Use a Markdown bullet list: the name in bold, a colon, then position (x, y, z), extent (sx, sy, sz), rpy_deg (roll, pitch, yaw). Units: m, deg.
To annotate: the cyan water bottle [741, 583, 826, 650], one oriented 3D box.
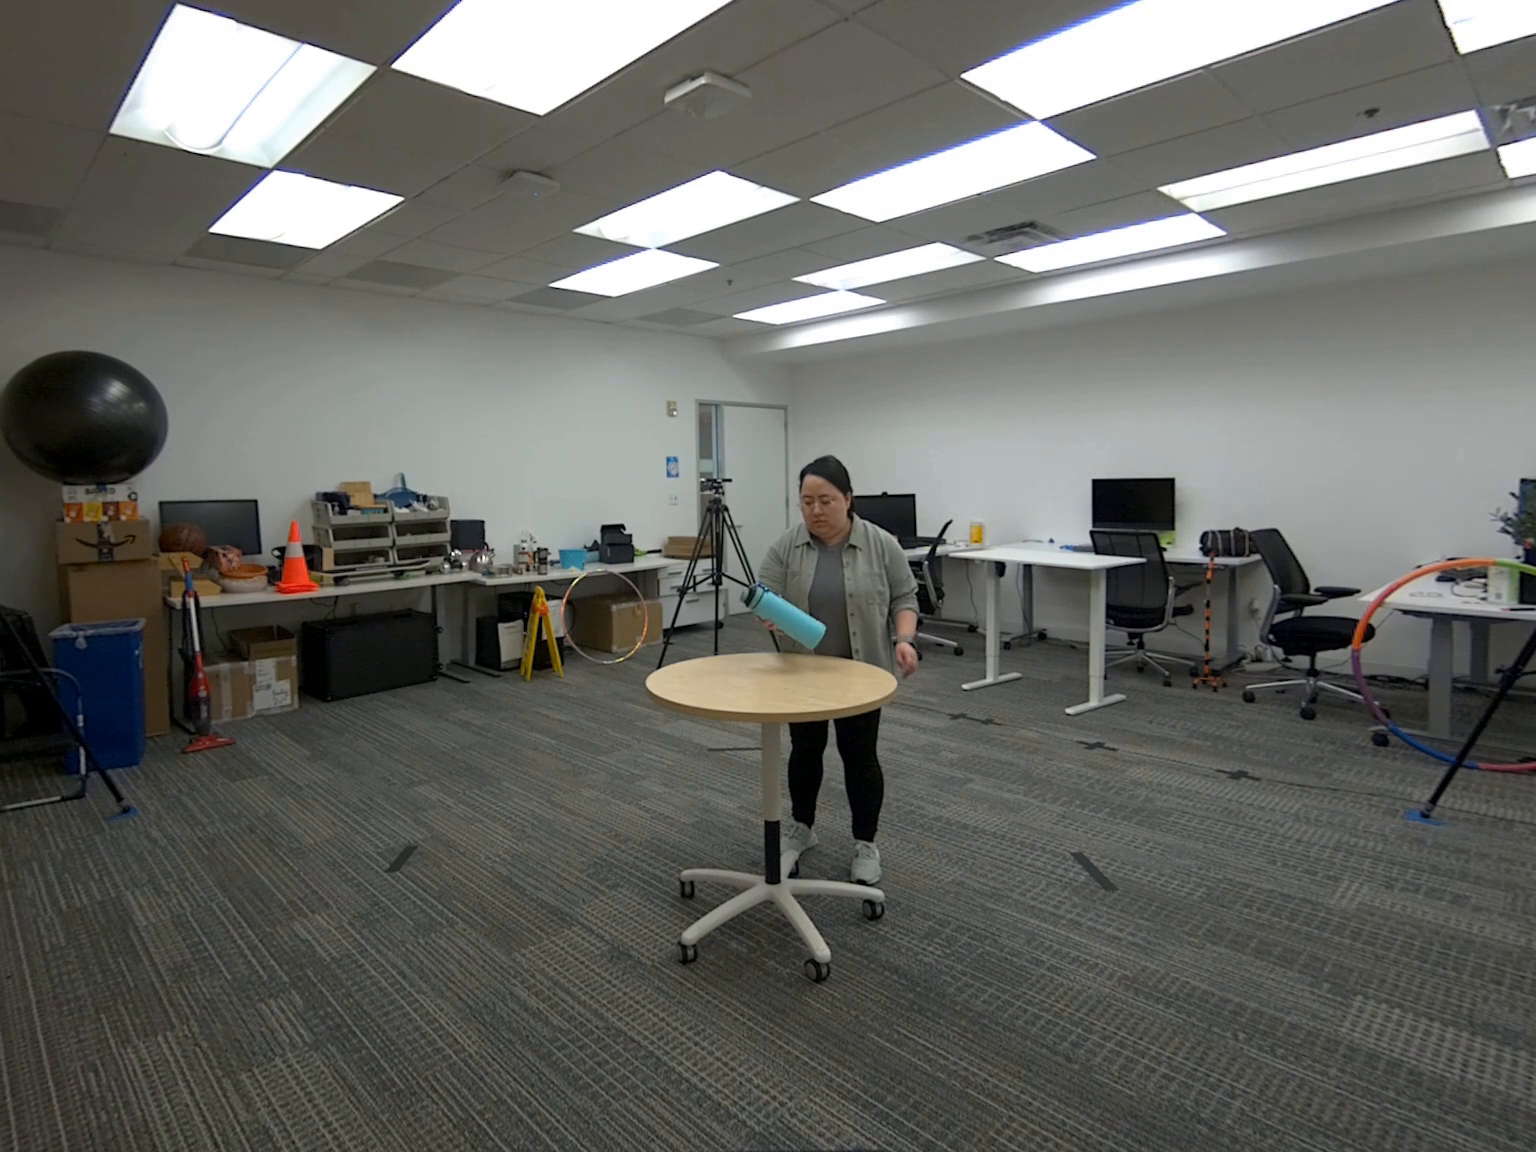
- **cyan water bottle**: position (0.043, 0.126, 2.723), extent (0.282, 0.092, 0.093), rpy_deg (33, 1, -5)
